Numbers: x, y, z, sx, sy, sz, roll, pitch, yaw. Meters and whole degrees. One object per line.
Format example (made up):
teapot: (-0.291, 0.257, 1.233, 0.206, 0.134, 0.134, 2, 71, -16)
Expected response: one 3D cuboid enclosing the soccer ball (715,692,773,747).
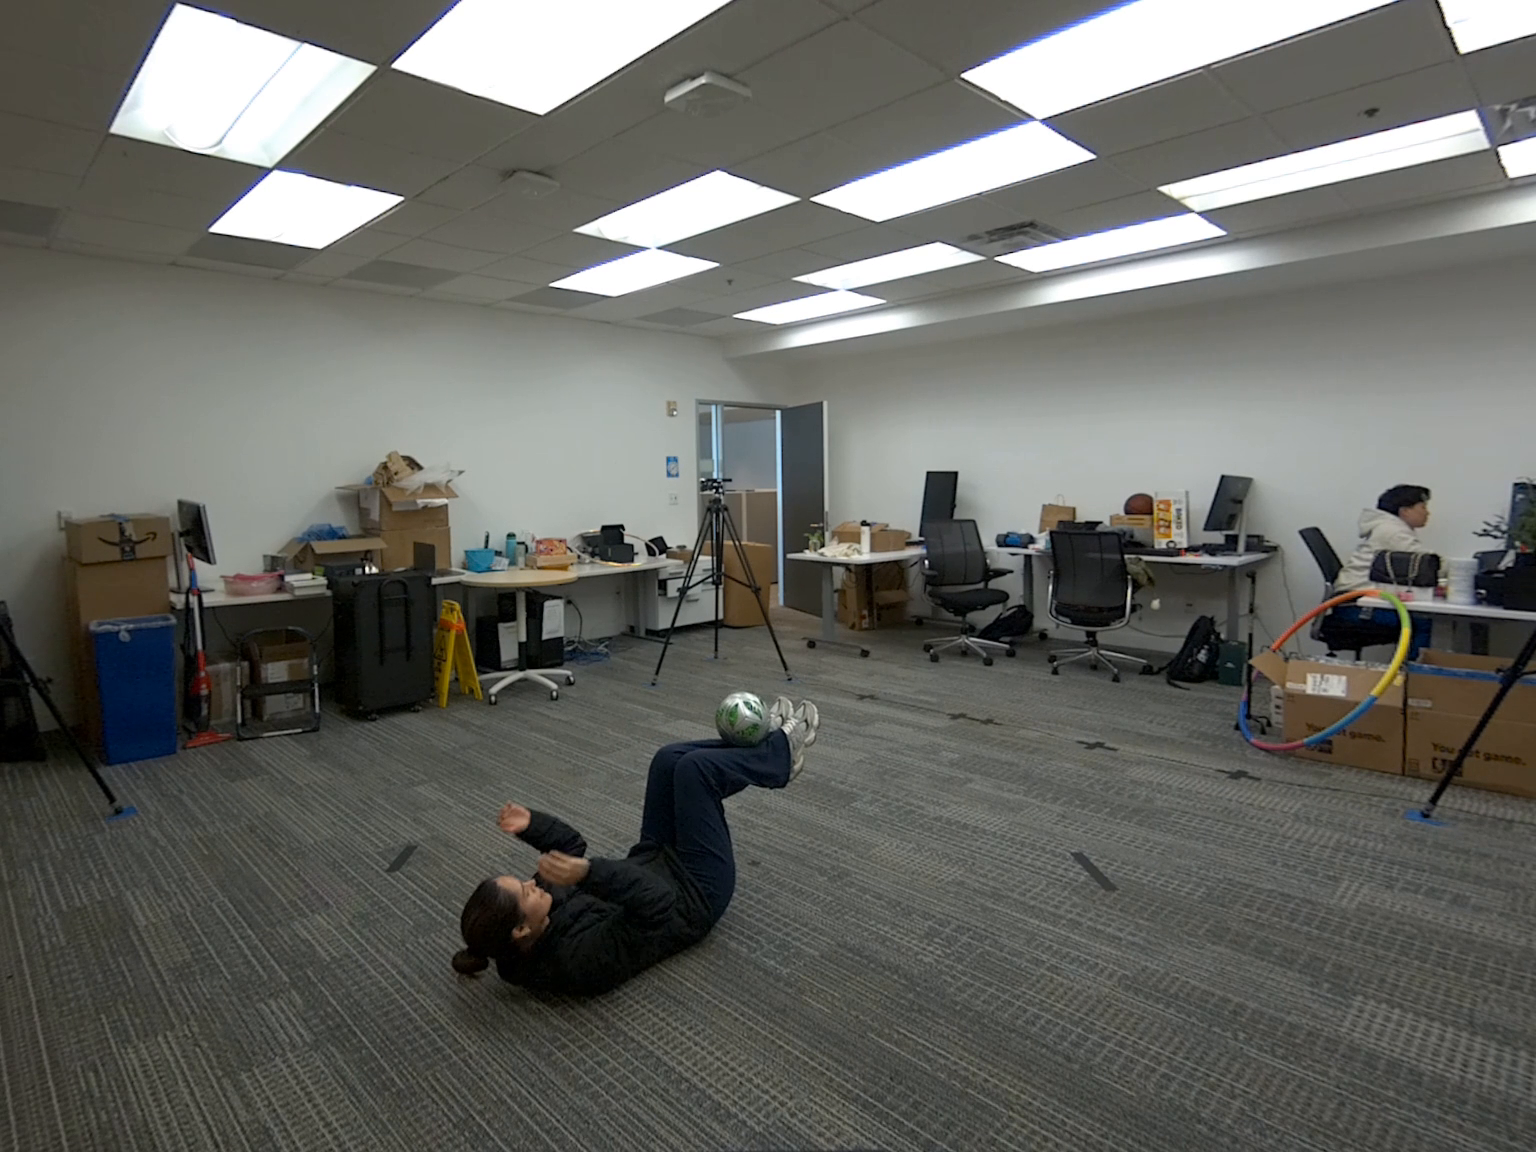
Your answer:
soccer ball: (-0.074, 0.483, 2.844, 0.187, 0.187, 0.188, 0, 1, -2)
